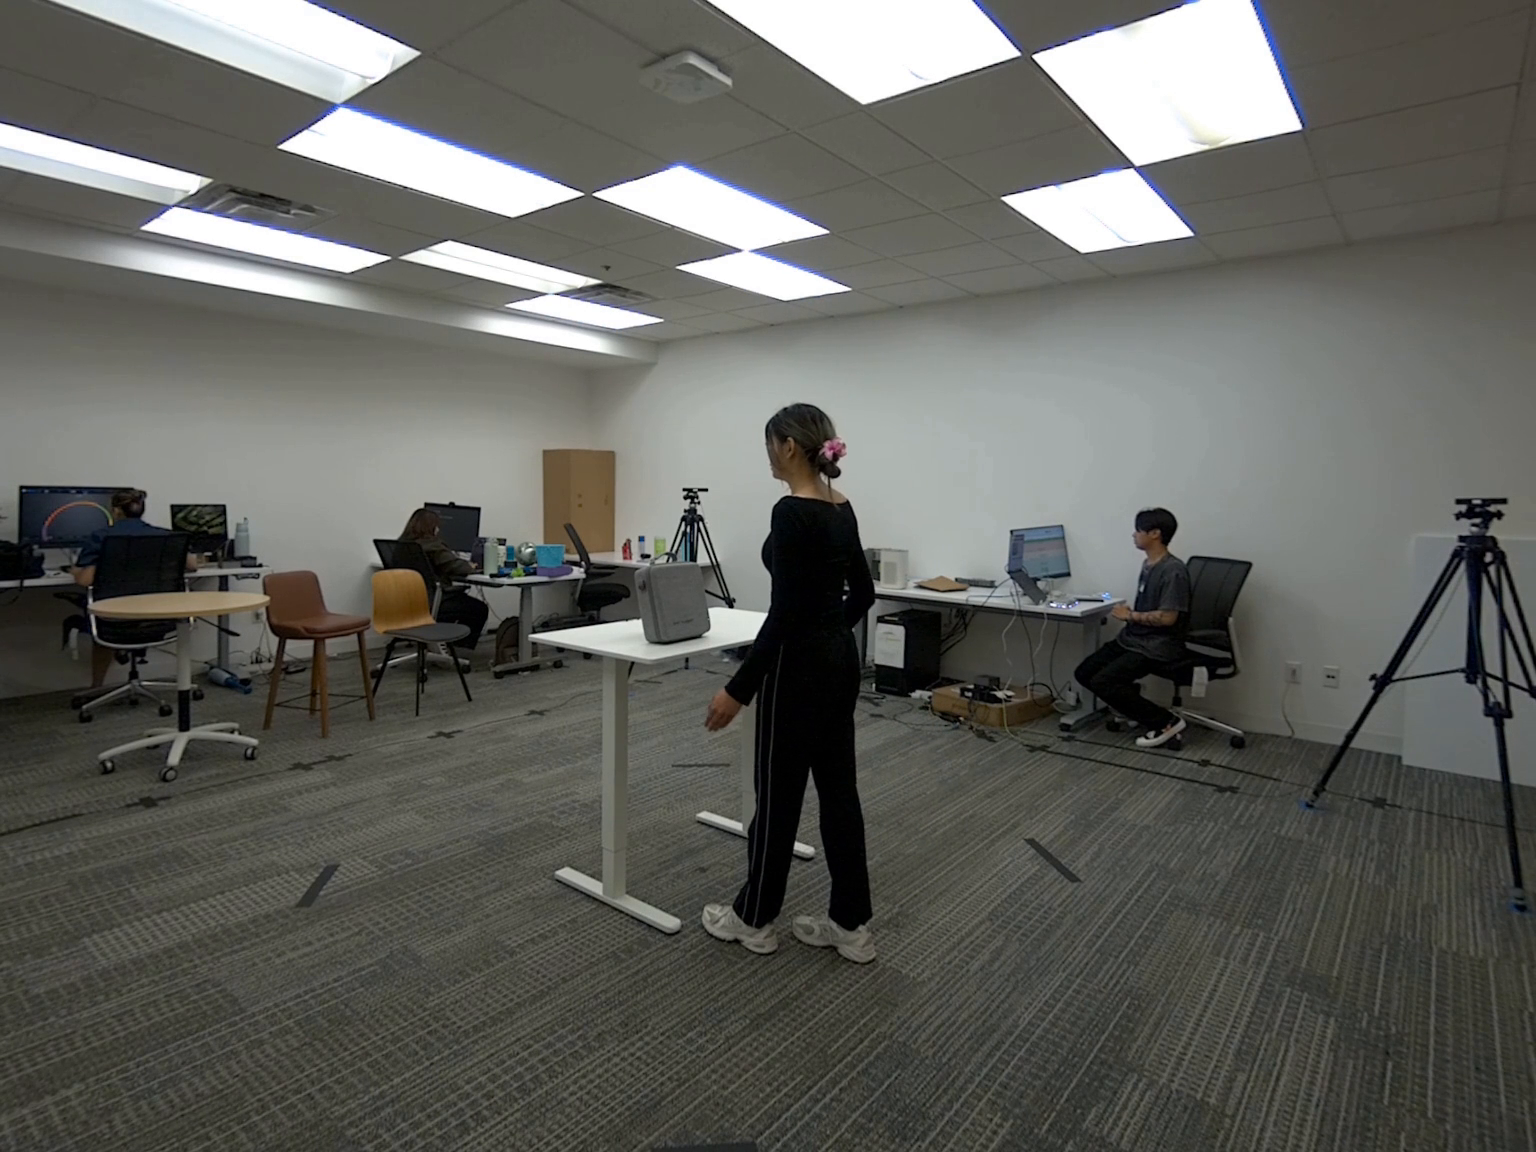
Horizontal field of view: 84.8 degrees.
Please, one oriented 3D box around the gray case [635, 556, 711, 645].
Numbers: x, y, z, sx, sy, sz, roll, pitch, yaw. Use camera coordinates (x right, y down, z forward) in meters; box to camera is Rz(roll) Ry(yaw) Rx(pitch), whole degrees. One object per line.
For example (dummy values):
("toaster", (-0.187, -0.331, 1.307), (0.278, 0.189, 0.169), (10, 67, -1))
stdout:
("gray case", (-0.327, 0.081, 2.855), (0.107, 0.262, 0.249), (-13, -6, 37))
